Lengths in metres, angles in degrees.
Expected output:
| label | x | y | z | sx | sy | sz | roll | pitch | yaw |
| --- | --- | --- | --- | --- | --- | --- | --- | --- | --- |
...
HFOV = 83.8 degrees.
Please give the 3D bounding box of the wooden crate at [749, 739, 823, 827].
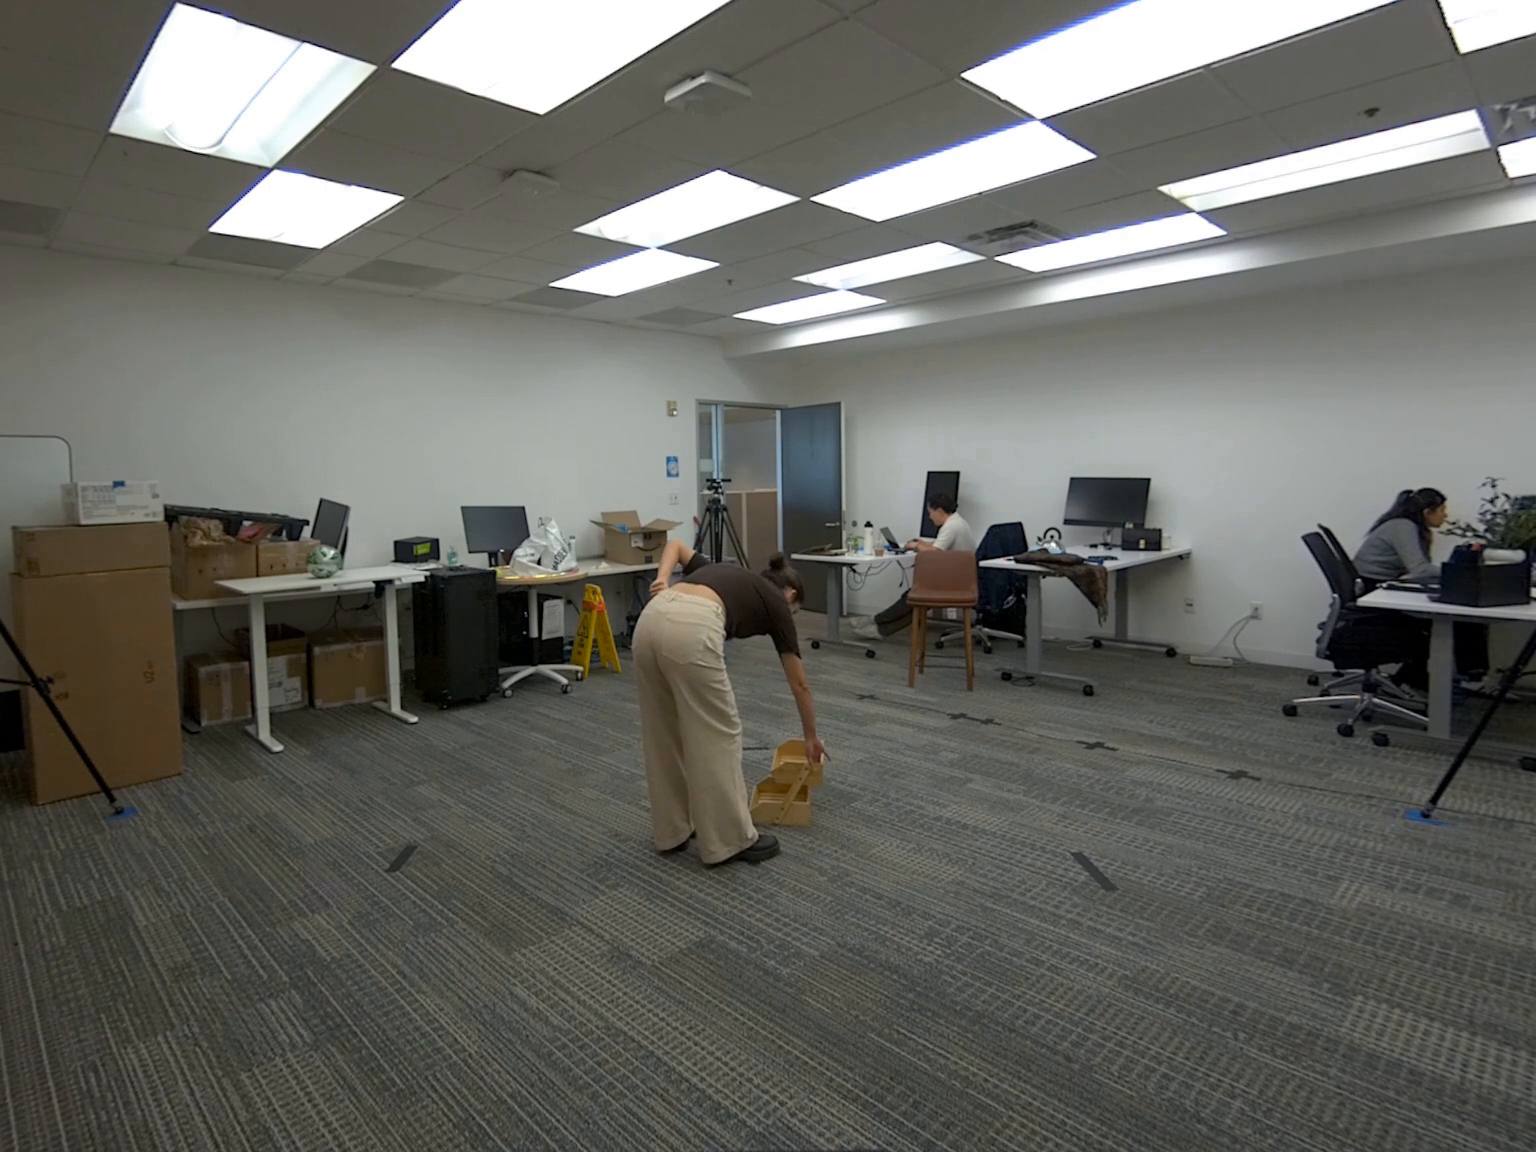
| label | x | y | z | sx | sy | sz | roll | pitch | yaw |
| --- | --- | --- | --- | --- | --- | --- | --- | --- | --- |
| wooden crate | 0.077 | 0.854 | 3.584 | 0.304 | 0.272 | 0.324 | 1 | 6 | 6 |
